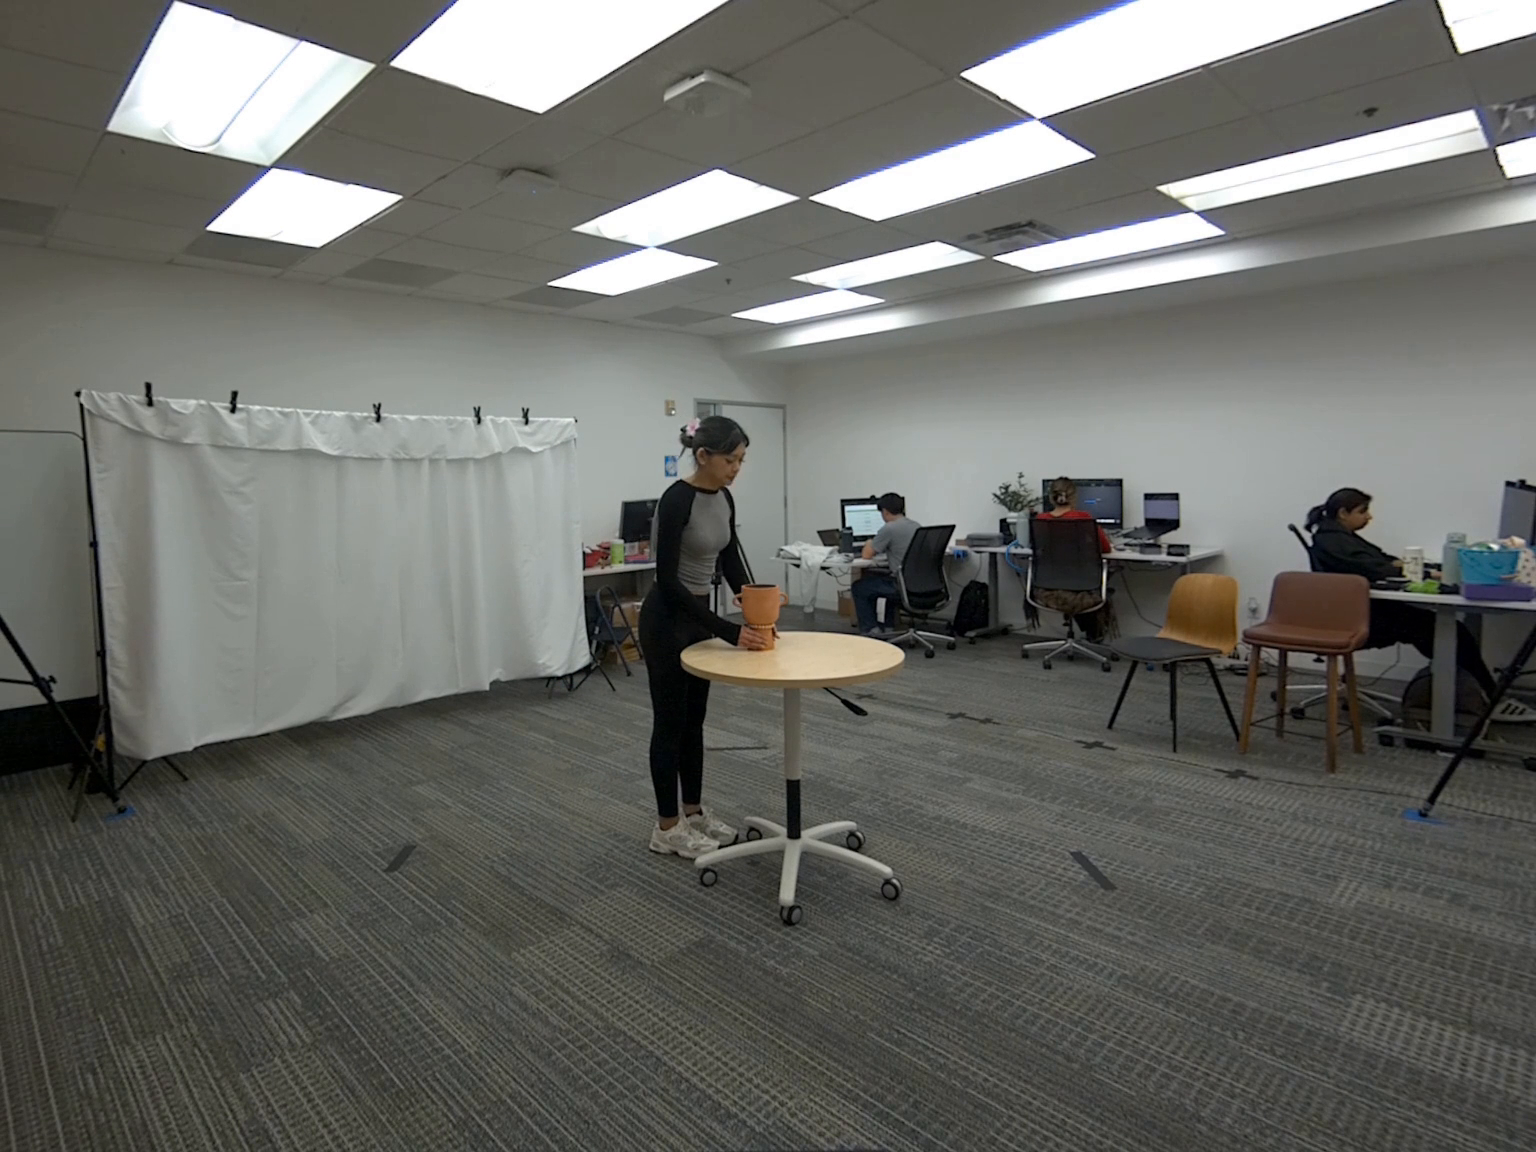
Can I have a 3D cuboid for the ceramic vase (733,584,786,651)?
[{"bbox_3d":[-0.027,0.142,3.030,0.163,0.219,0.131,3,6,32],"label":"ceramic vase"}]
